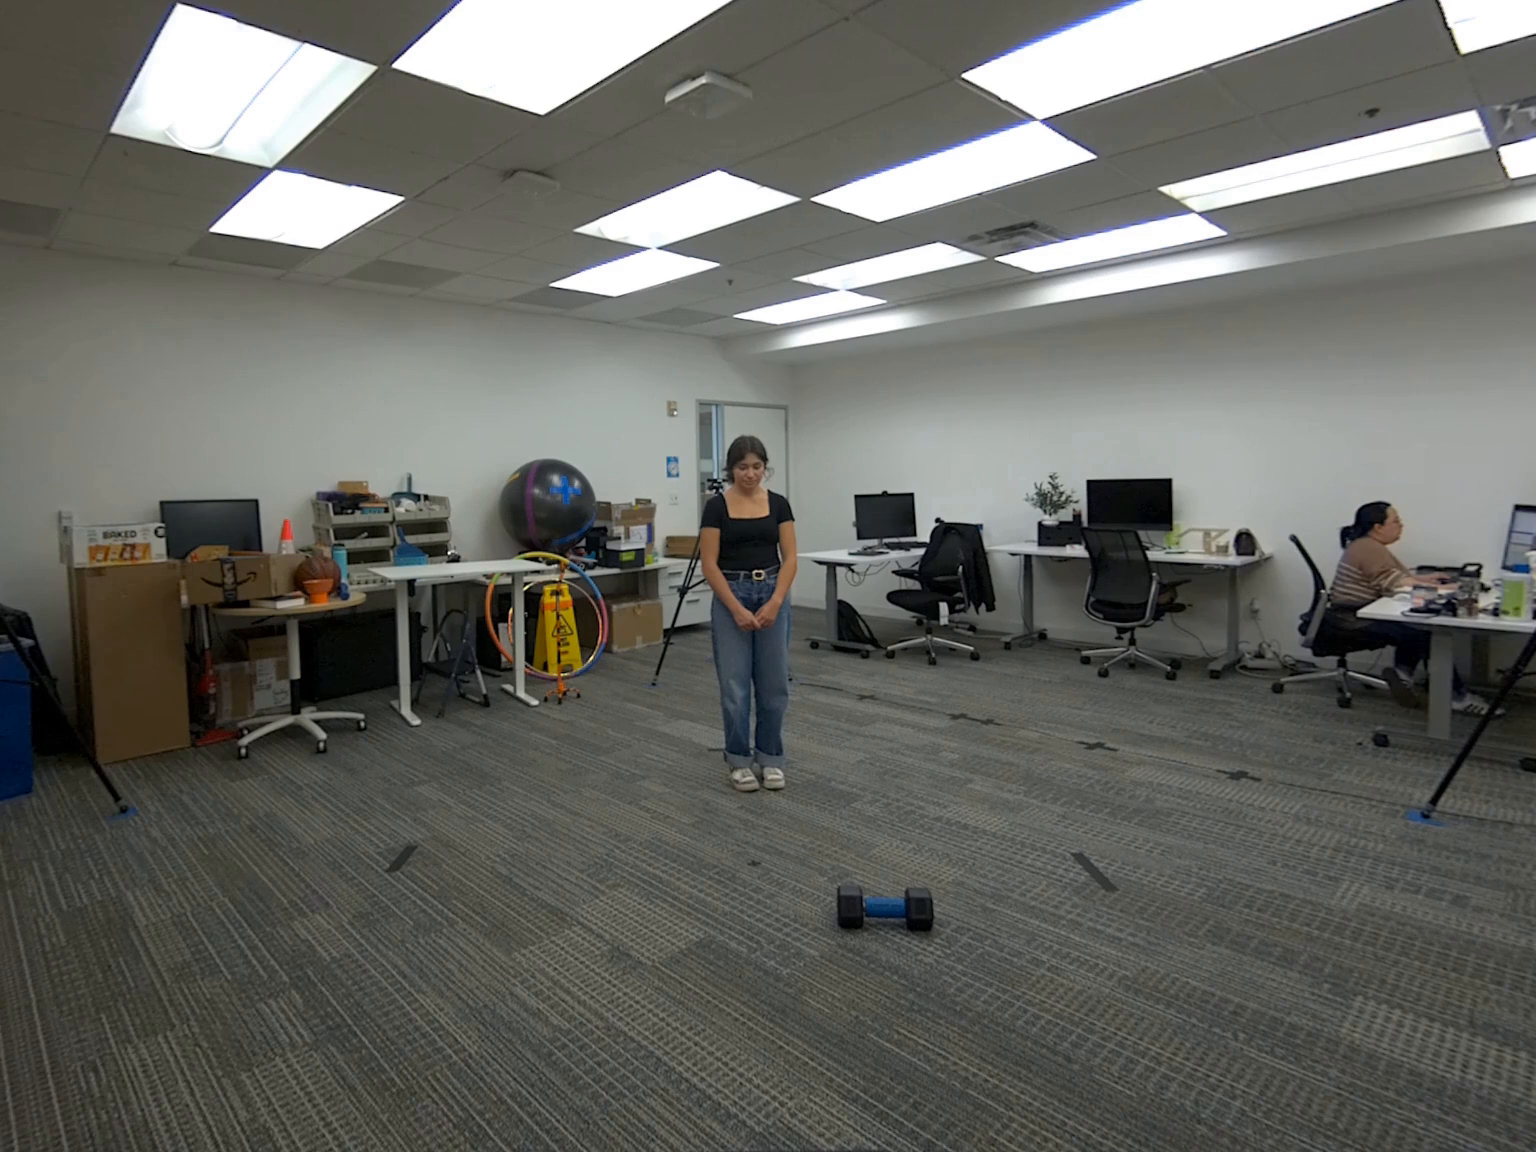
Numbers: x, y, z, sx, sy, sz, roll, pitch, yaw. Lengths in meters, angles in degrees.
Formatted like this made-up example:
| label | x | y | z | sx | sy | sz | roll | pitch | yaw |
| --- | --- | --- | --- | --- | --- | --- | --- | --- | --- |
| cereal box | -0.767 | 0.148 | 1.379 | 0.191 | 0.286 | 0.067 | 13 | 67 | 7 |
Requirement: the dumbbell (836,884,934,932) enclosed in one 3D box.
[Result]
| label | x | y | z | sx | sy | sz | roll | pitch | yaw |
| --- | --- | --- | --- | --- | --- | --- | --- | --- | --- |
| dumbbell | 0.371 | 1.040 | 2.656 | 0.294 | 0.120 | 0.111 | -1 | 34 | 3 |
